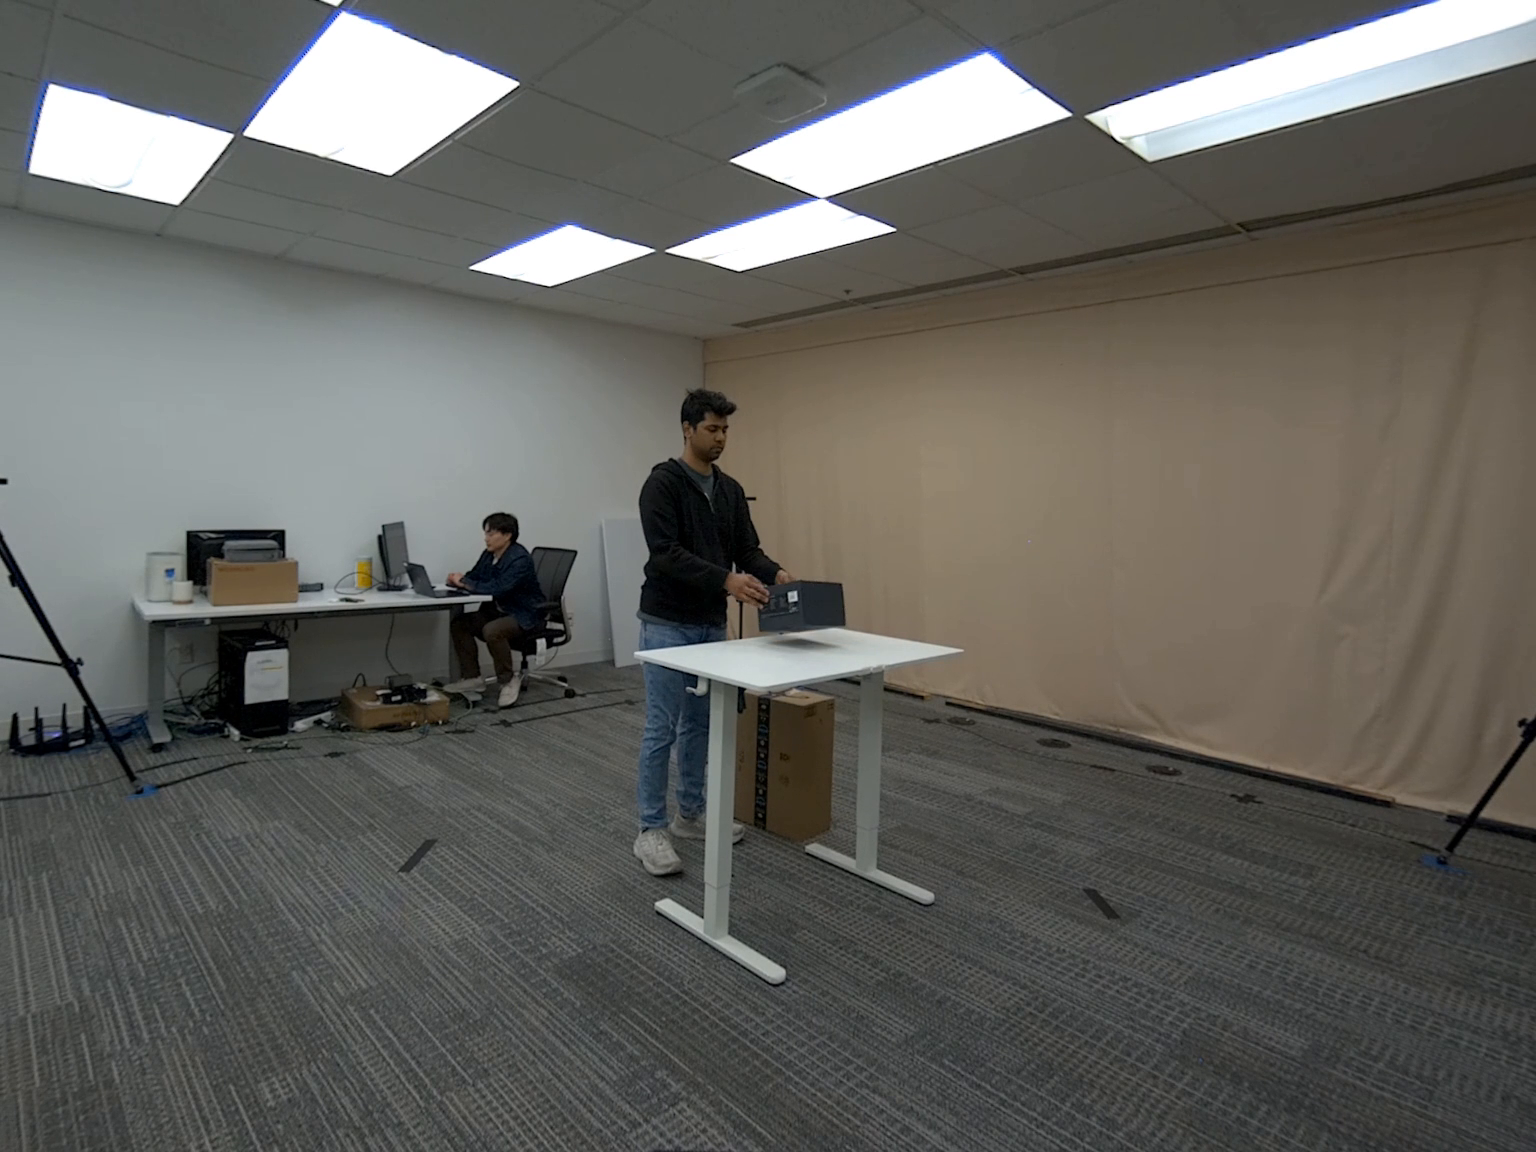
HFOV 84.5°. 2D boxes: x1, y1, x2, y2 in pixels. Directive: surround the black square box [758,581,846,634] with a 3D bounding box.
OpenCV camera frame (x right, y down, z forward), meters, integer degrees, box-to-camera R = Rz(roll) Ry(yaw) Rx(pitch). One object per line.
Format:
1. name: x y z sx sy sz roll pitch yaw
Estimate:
1. black square box: 0.115 0.113 2.988 0.221 0.157 0.222 -12 -12 42
